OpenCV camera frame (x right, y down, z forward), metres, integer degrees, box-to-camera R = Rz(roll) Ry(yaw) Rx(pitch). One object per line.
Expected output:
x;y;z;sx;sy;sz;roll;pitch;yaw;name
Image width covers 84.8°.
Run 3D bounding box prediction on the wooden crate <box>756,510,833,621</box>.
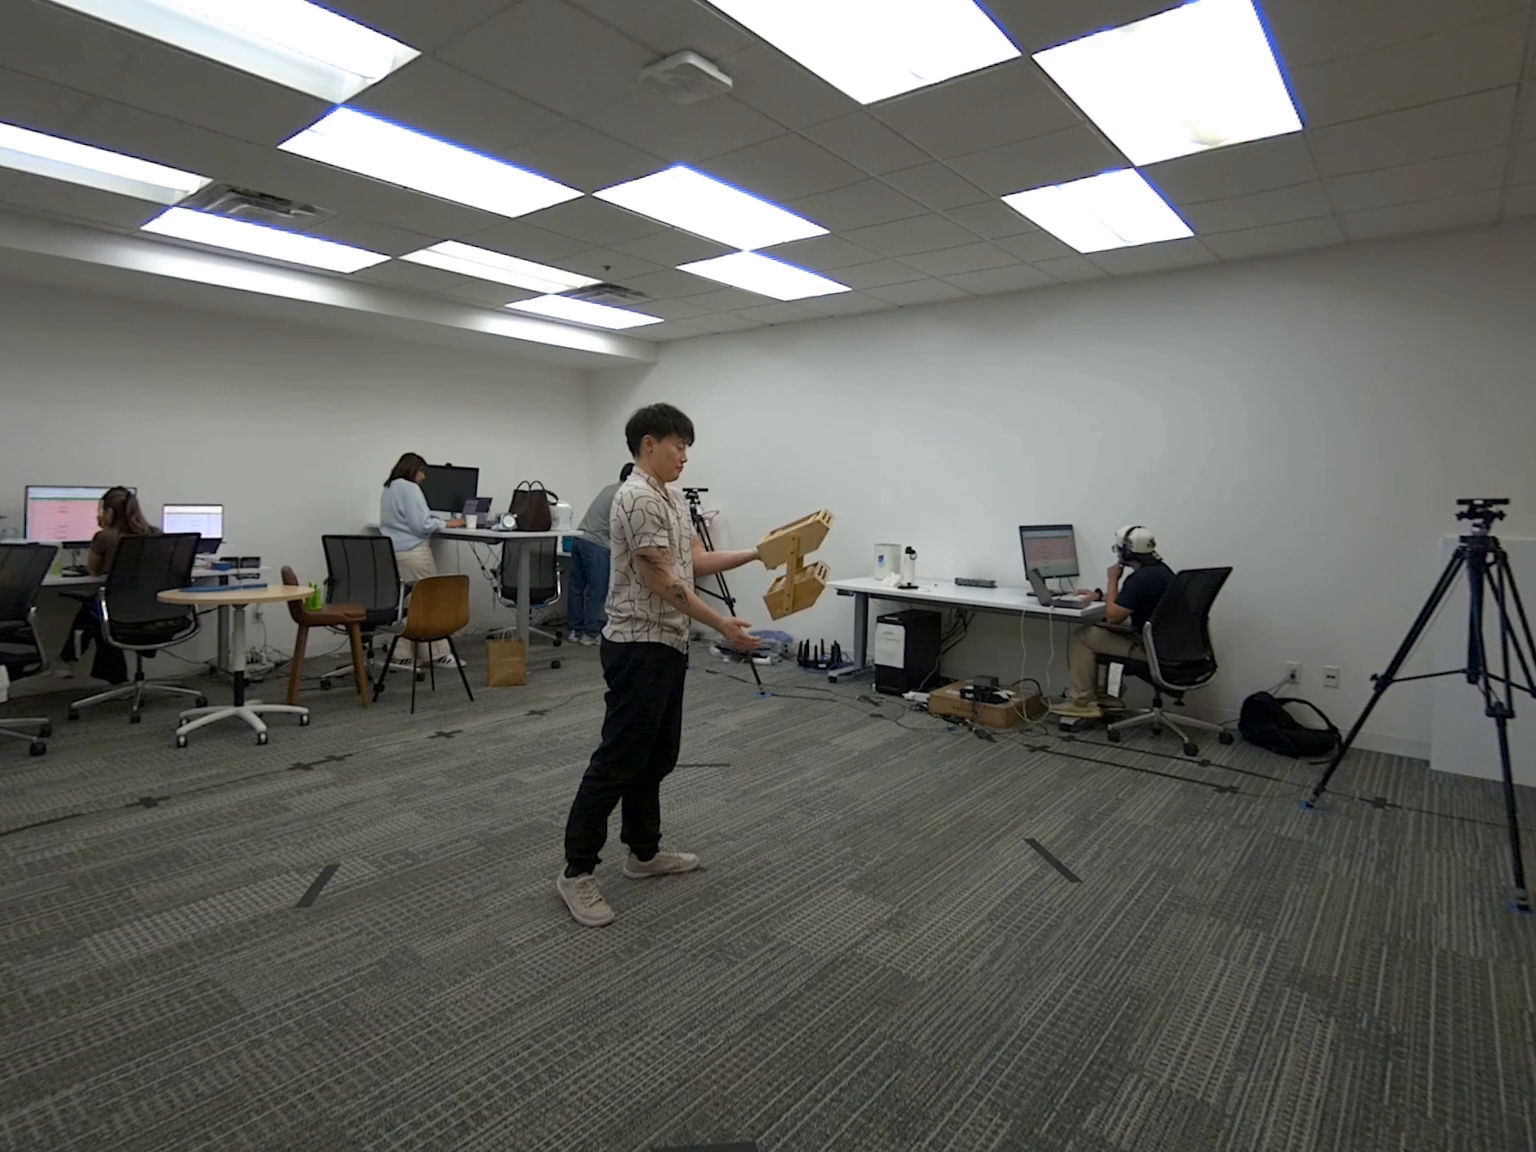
0.114;-0.047;2.975;0.304;0.272;0.324;-24;6;13;wooden crate
